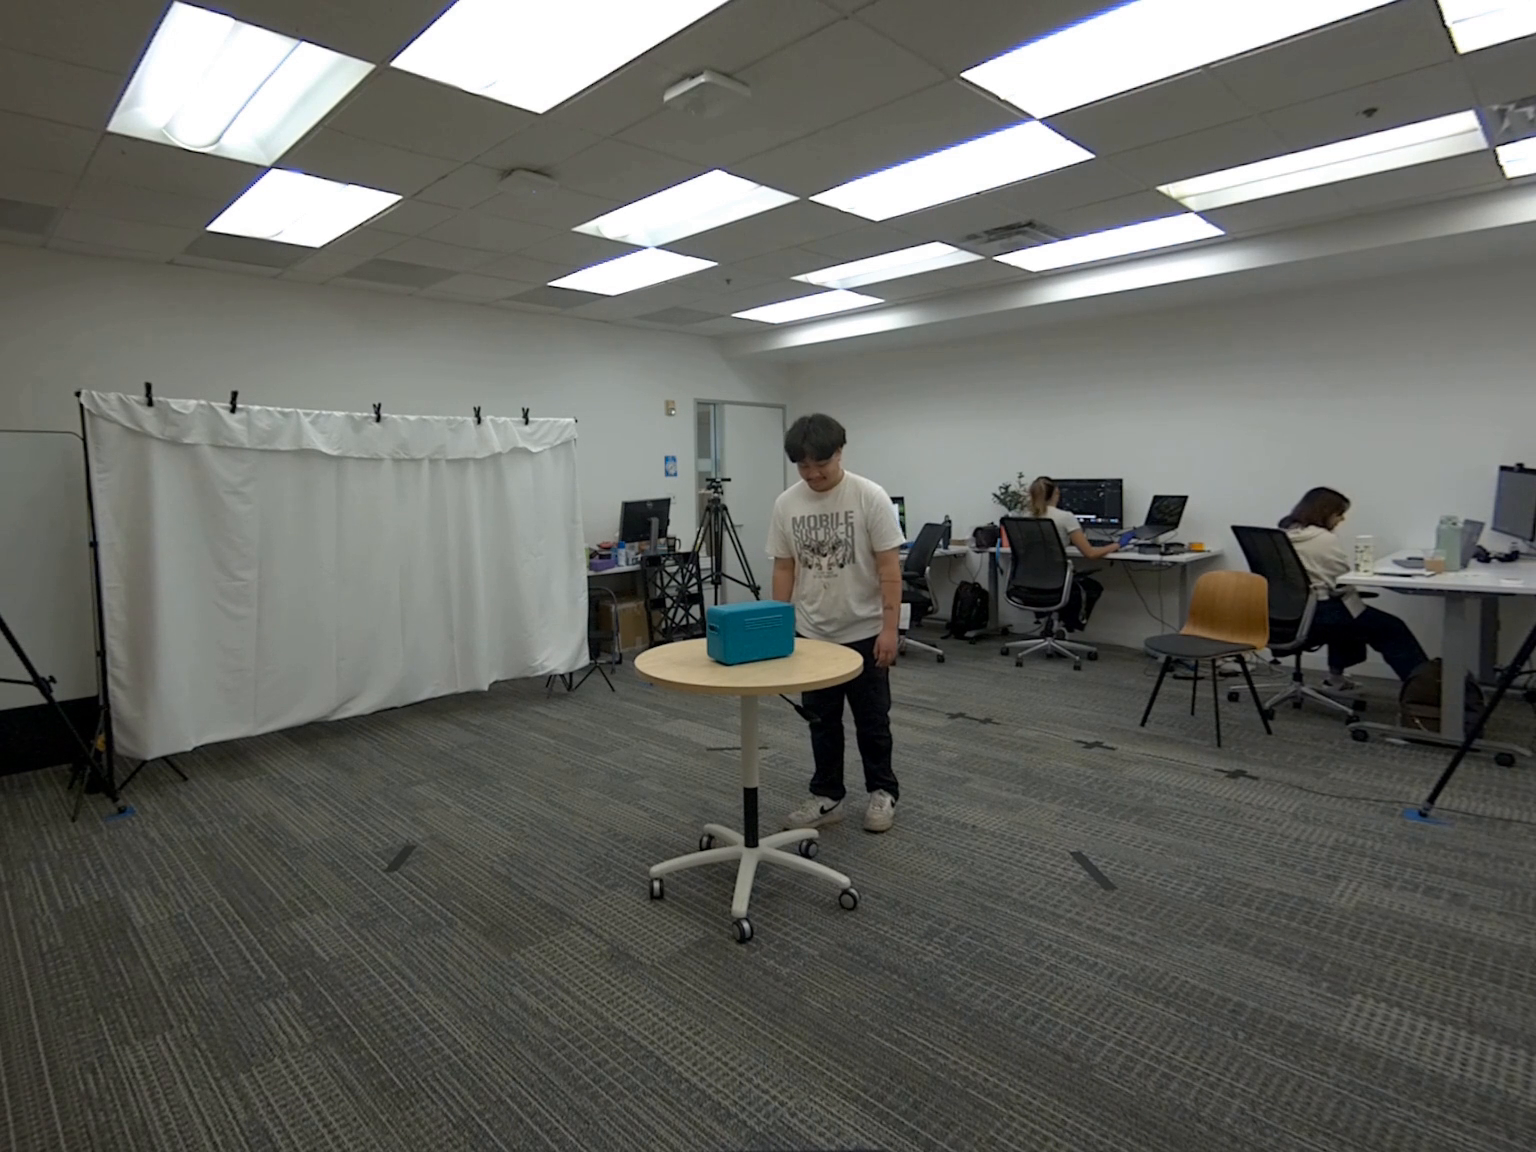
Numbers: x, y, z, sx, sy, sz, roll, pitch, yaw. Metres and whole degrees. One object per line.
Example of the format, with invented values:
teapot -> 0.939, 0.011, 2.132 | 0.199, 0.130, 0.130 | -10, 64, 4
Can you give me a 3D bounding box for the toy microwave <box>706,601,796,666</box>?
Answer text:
toy microwave -> -0.062, 0.185, 2.874 | 0.279, 0.183, 0.157 | -5, 7, -31
